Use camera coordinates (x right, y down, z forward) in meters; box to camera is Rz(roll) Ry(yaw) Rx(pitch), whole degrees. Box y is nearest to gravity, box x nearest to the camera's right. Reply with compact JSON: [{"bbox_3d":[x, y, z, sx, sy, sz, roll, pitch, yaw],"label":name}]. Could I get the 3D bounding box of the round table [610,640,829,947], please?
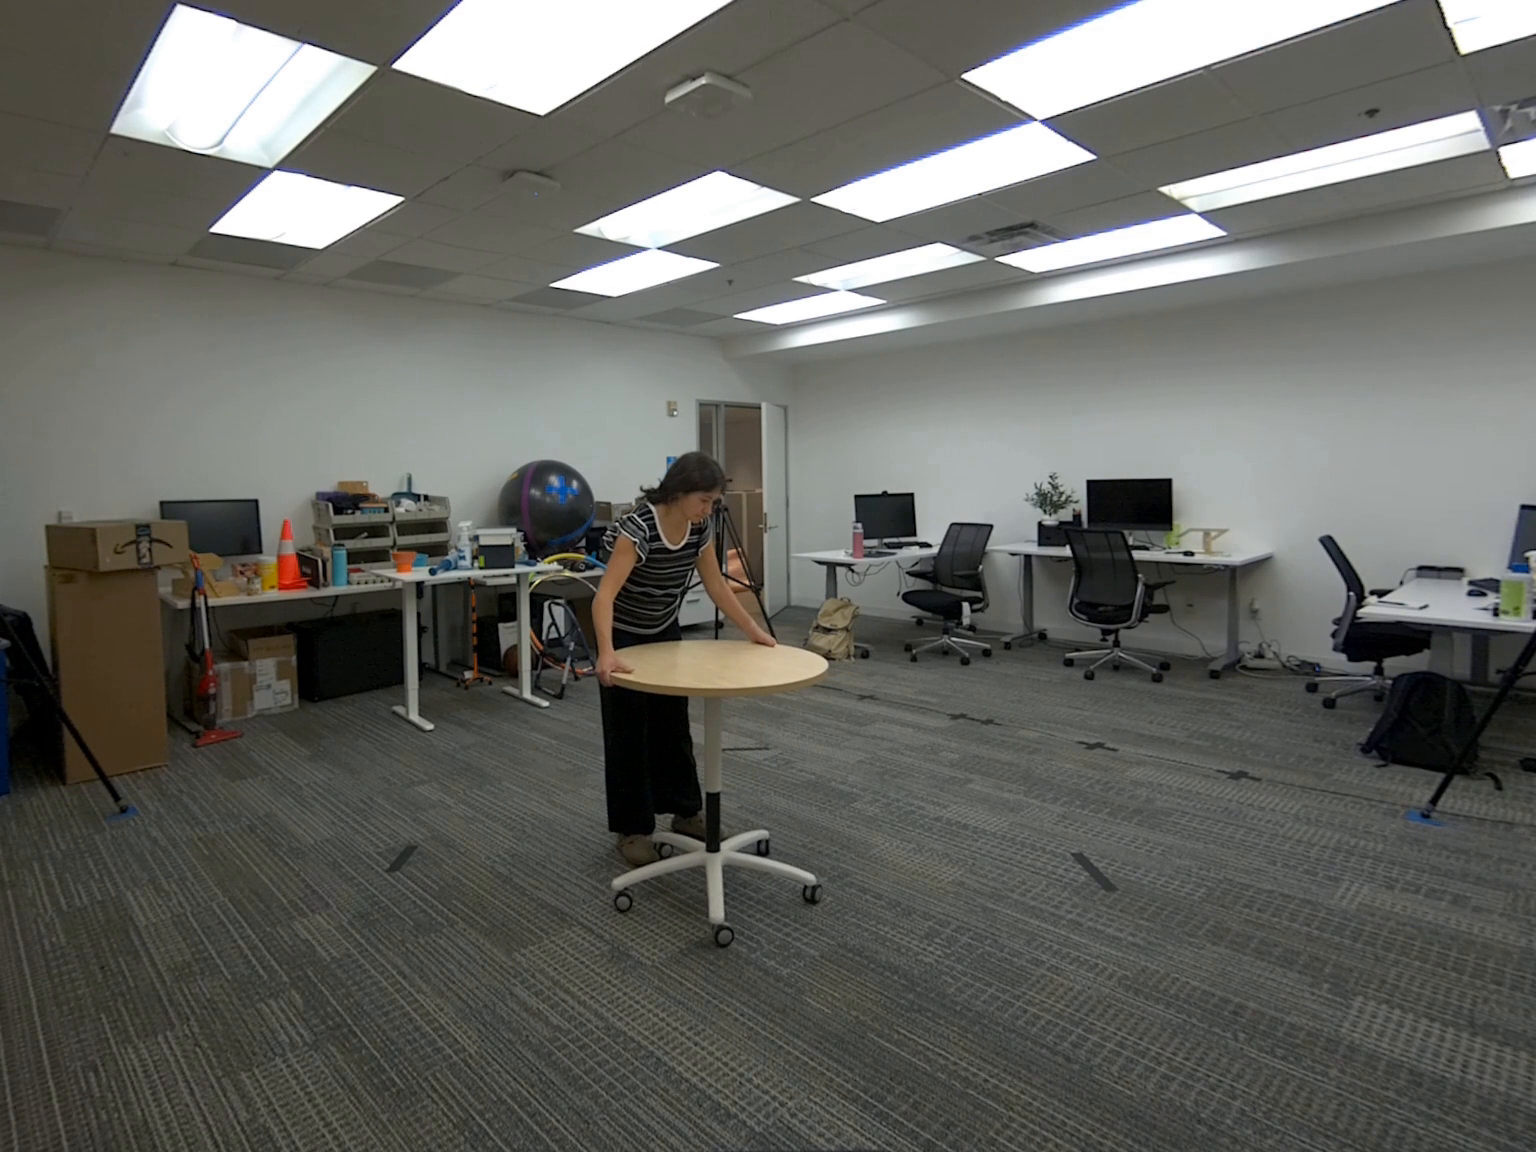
[{"bbox_3d":[-0.179,0.679,2.871,0.763,0.791,0.768,0,5,-2],"label":"round table"}]
